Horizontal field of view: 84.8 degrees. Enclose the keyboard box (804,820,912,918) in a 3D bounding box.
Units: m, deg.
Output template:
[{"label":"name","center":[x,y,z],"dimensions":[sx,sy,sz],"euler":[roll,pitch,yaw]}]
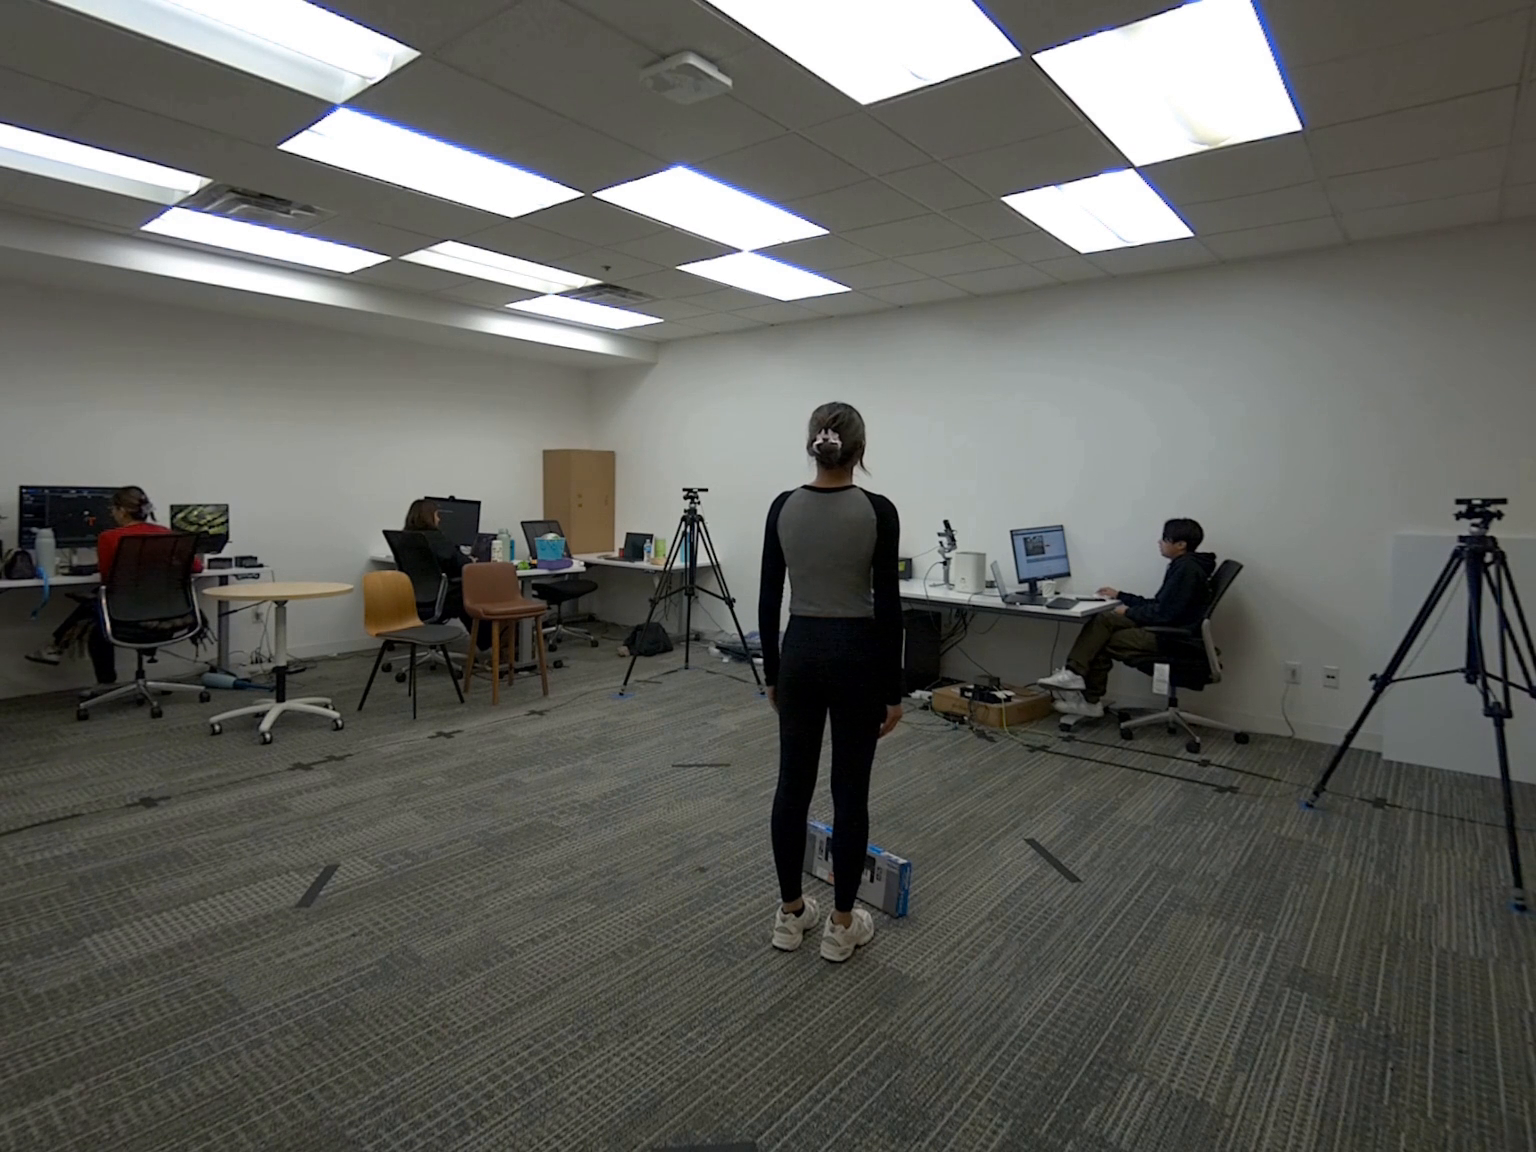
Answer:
[{"label":"keyboard box","center":[0.292,1.008,2.961],"dimensions":[0.057,0.176,0.452],"euler":[6,1,-42]}]
